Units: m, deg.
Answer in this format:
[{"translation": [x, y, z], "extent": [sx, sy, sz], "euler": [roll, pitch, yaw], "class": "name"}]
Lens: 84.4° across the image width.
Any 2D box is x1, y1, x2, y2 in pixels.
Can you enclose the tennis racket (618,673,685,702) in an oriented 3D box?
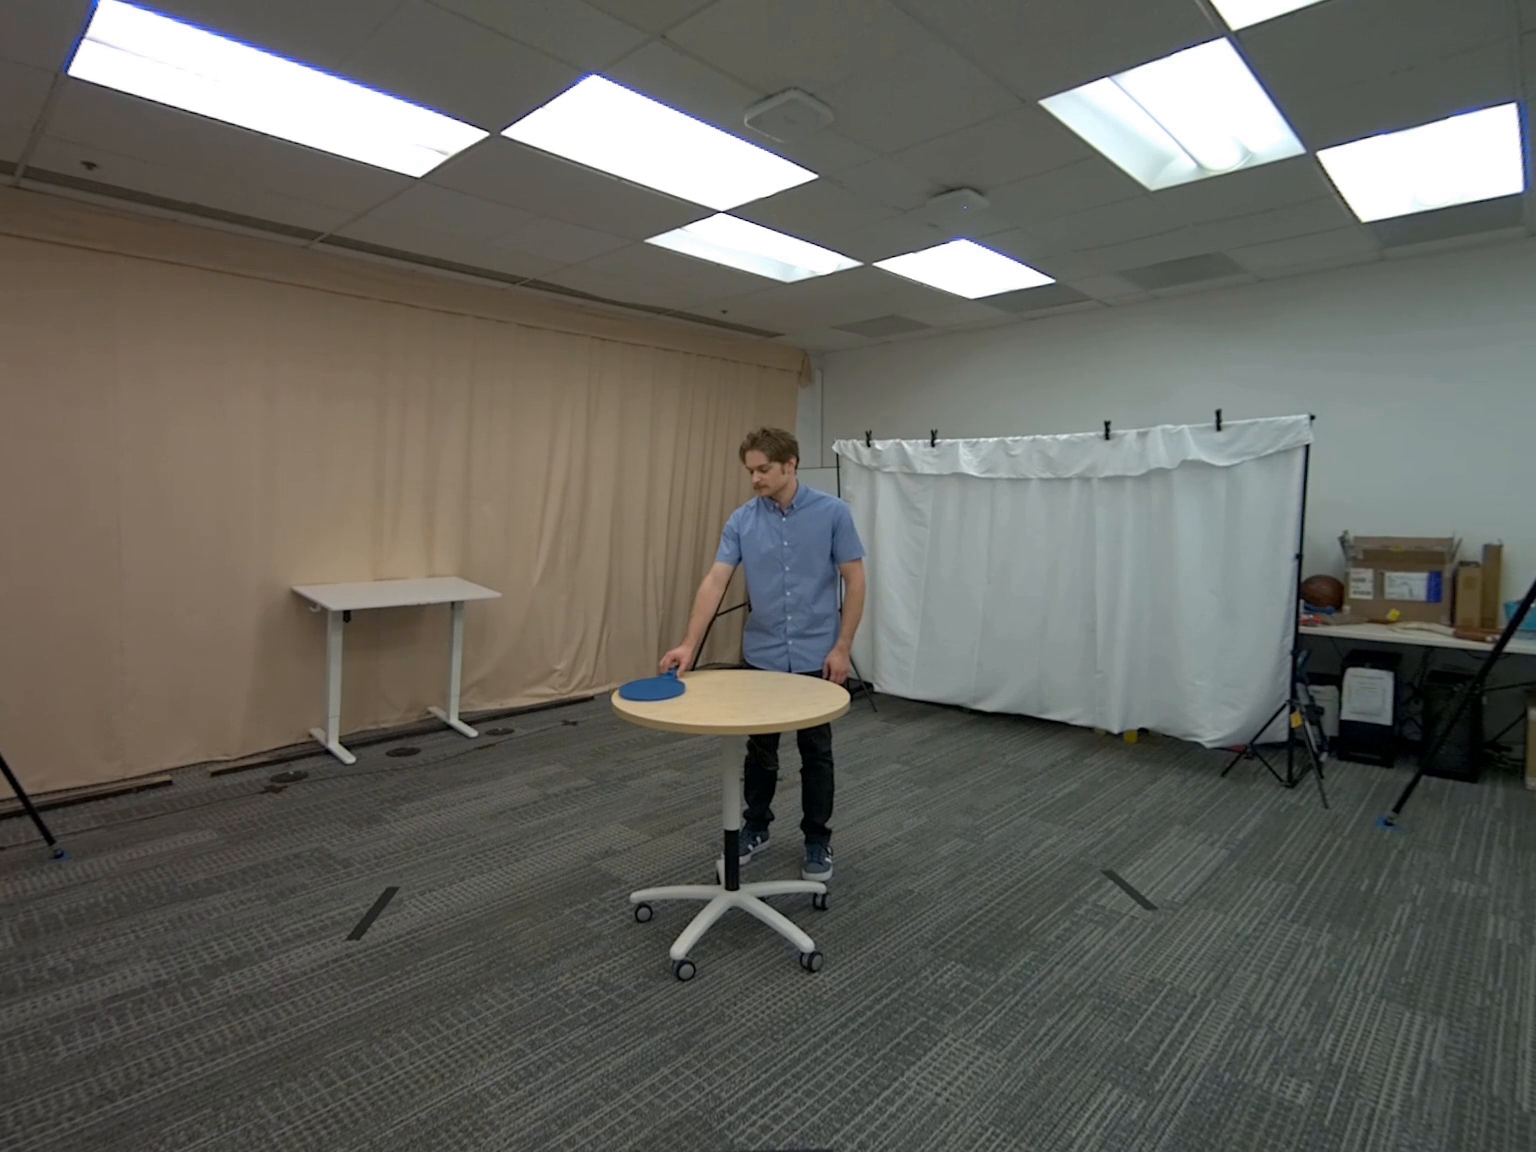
[{"translation": [-0.374, 0.362, 2.840], "extent": [0.217, 0.031, 0.429], "euler": [2, 8, 11], "class": "tennis racket"}]
